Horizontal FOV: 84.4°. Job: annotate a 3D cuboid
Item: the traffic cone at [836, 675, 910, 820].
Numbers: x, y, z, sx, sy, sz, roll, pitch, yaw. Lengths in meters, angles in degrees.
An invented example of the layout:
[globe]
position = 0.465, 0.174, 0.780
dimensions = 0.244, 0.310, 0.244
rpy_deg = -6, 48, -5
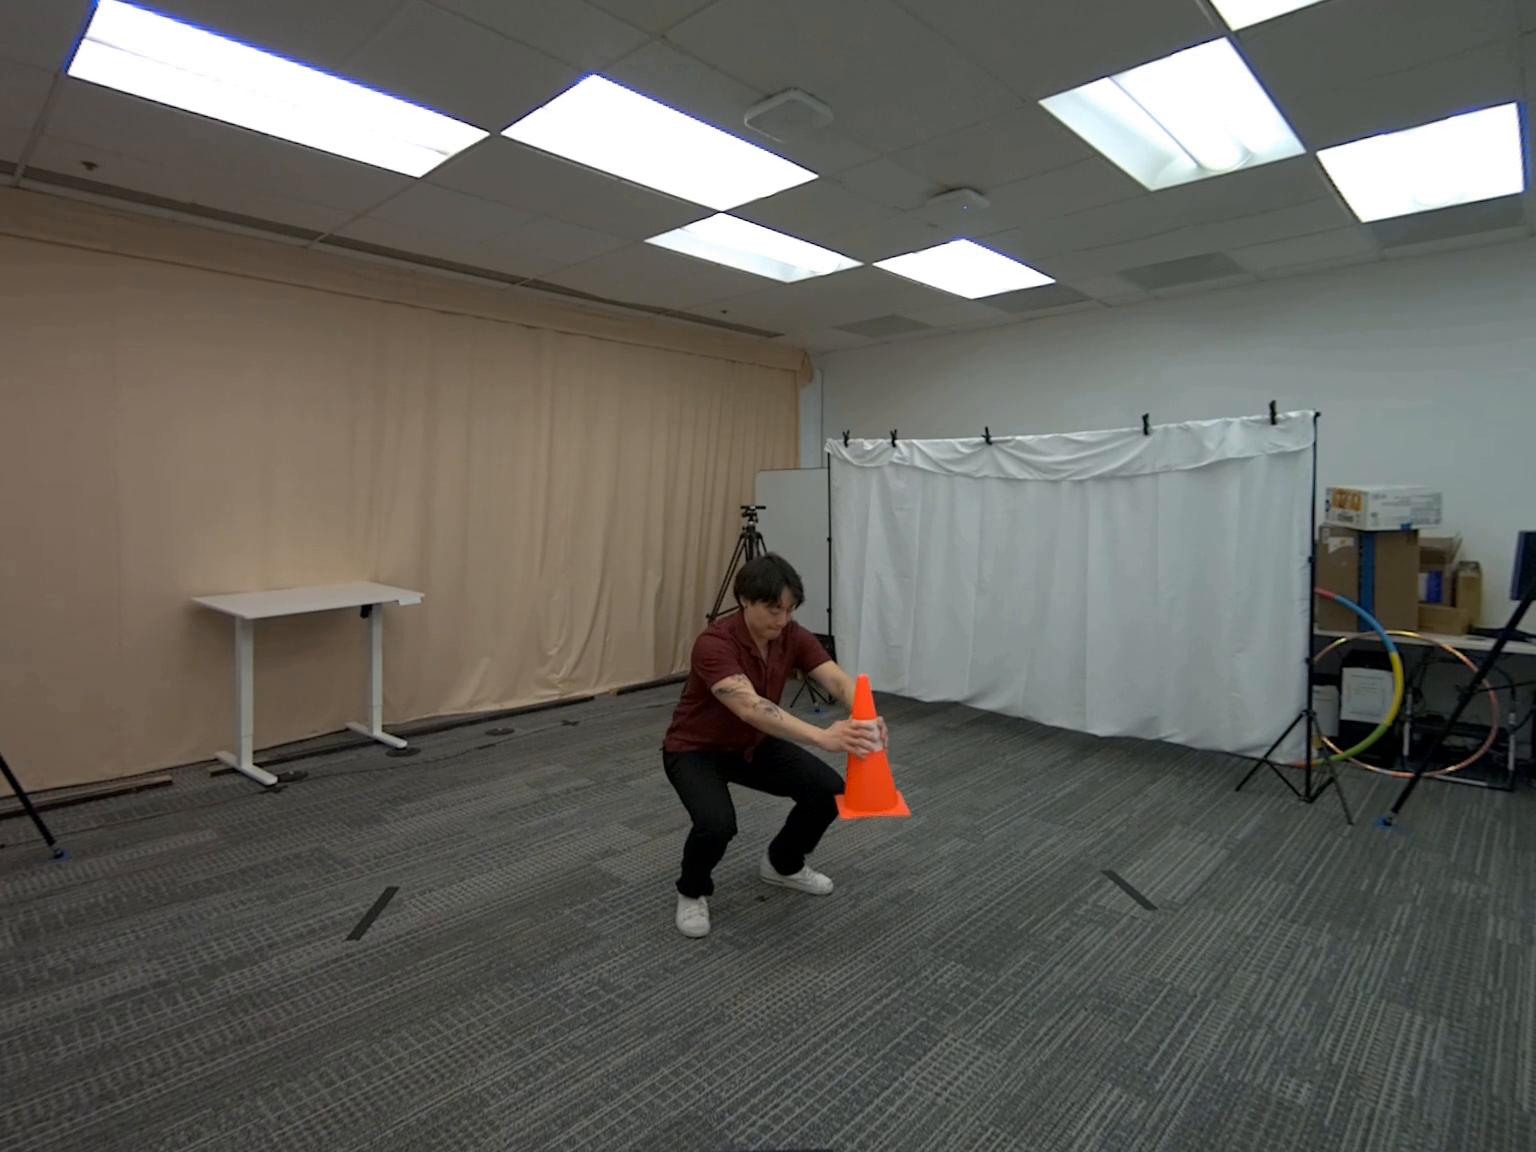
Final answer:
[traffic cone]
position = 0.294, 0.487, 2.463
dimensions = 0.204, 0.383, 0.204
rpy_deg = -6, 1, 3
